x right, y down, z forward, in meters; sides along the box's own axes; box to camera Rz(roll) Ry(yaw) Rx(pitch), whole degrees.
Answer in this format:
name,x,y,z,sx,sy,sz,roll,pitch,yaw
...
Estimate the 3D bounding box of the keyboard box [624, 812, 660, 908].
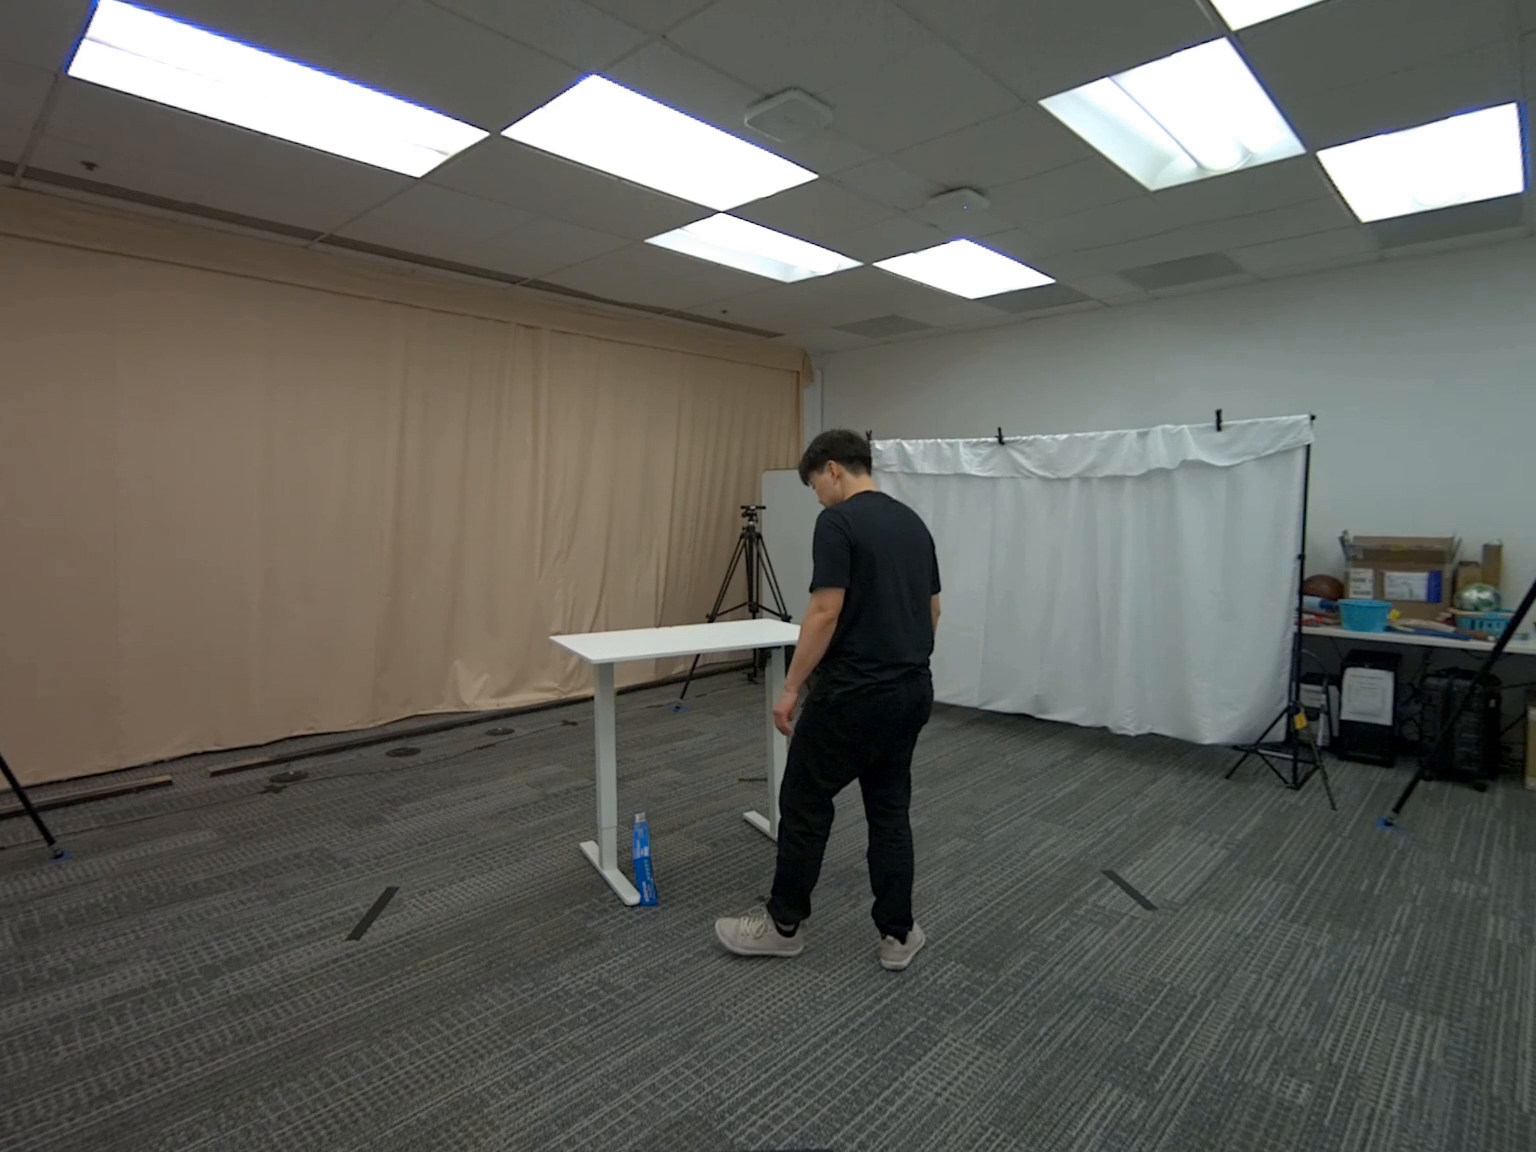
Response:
name,x,y,z,sx,sy,sz,roll,pitch,yaw
keyboard box,-0.459,1.046,3.142,0.059,0.175,0.441,-8,6,-9
